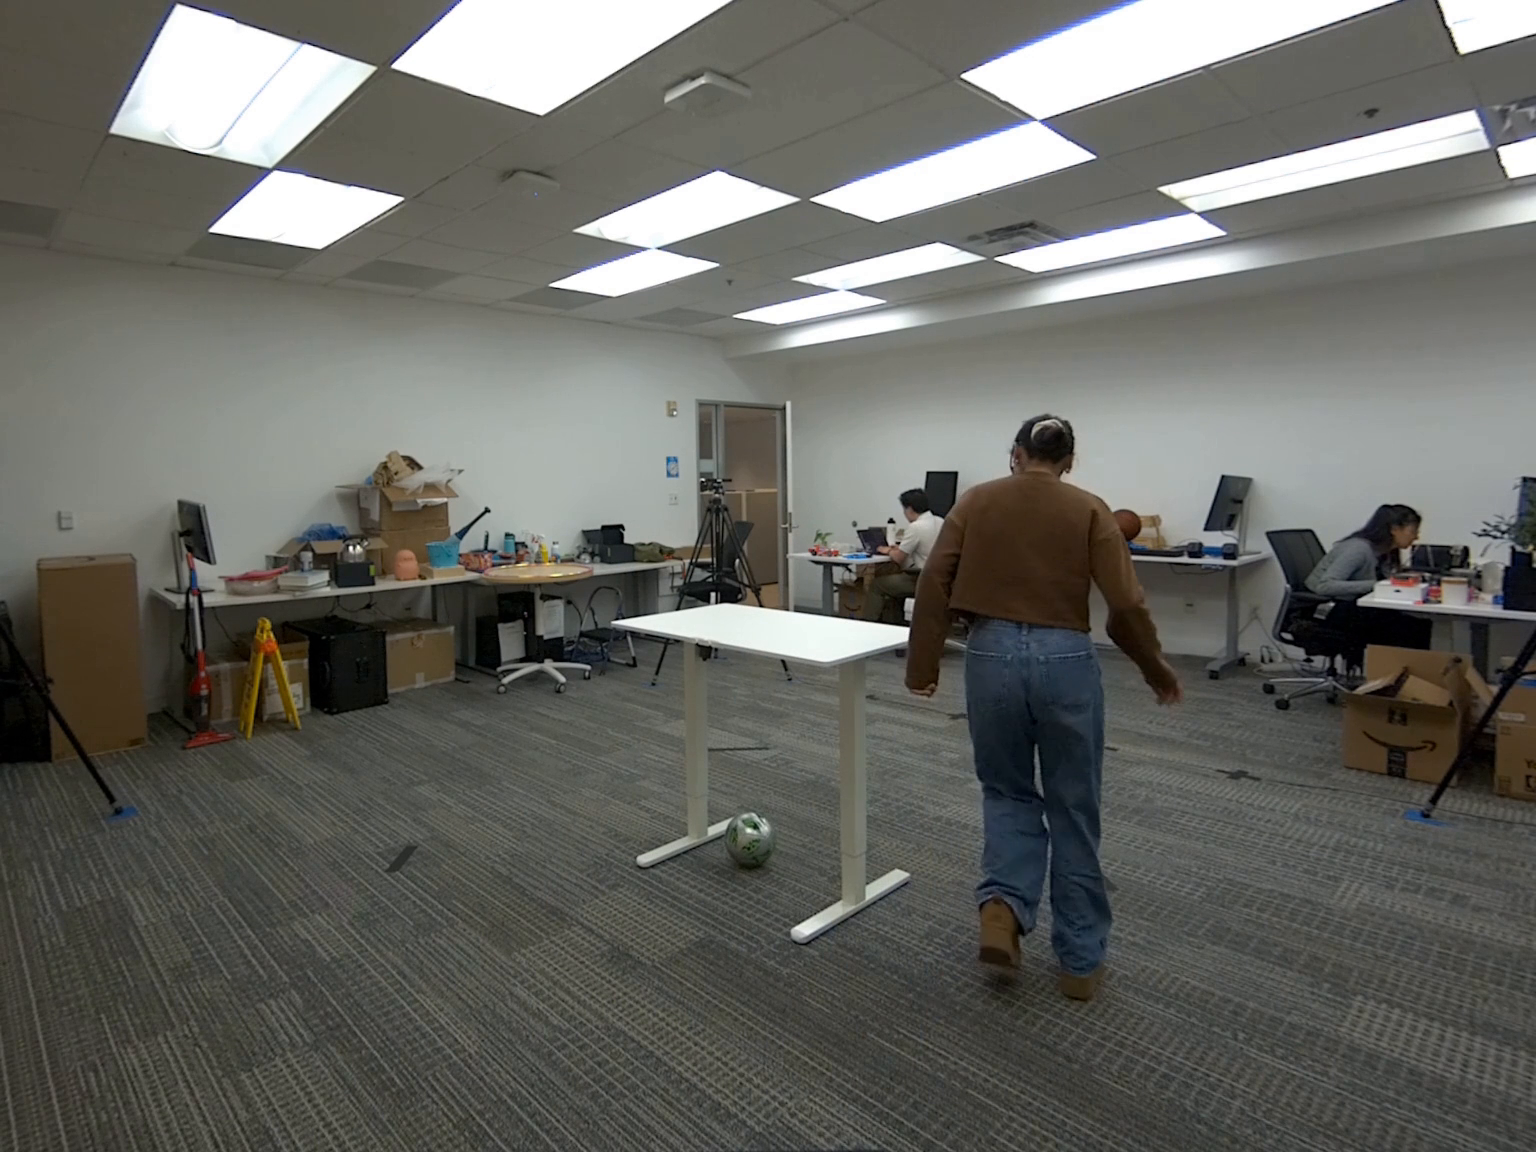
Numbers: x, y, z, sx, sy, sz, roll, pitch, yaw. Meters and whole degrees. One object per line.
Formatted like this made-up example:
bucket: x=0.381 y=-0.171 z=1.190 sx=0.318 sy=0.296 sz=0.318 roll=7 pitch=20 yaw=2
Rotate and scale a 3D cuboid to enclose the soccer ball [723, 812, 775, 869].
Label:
soccer ball: x=-0.060 y=0.955 z=3.096 sx=0.187 sy=0.187 sz=0.188 roll=-1 pitch=5 yaw=-2
